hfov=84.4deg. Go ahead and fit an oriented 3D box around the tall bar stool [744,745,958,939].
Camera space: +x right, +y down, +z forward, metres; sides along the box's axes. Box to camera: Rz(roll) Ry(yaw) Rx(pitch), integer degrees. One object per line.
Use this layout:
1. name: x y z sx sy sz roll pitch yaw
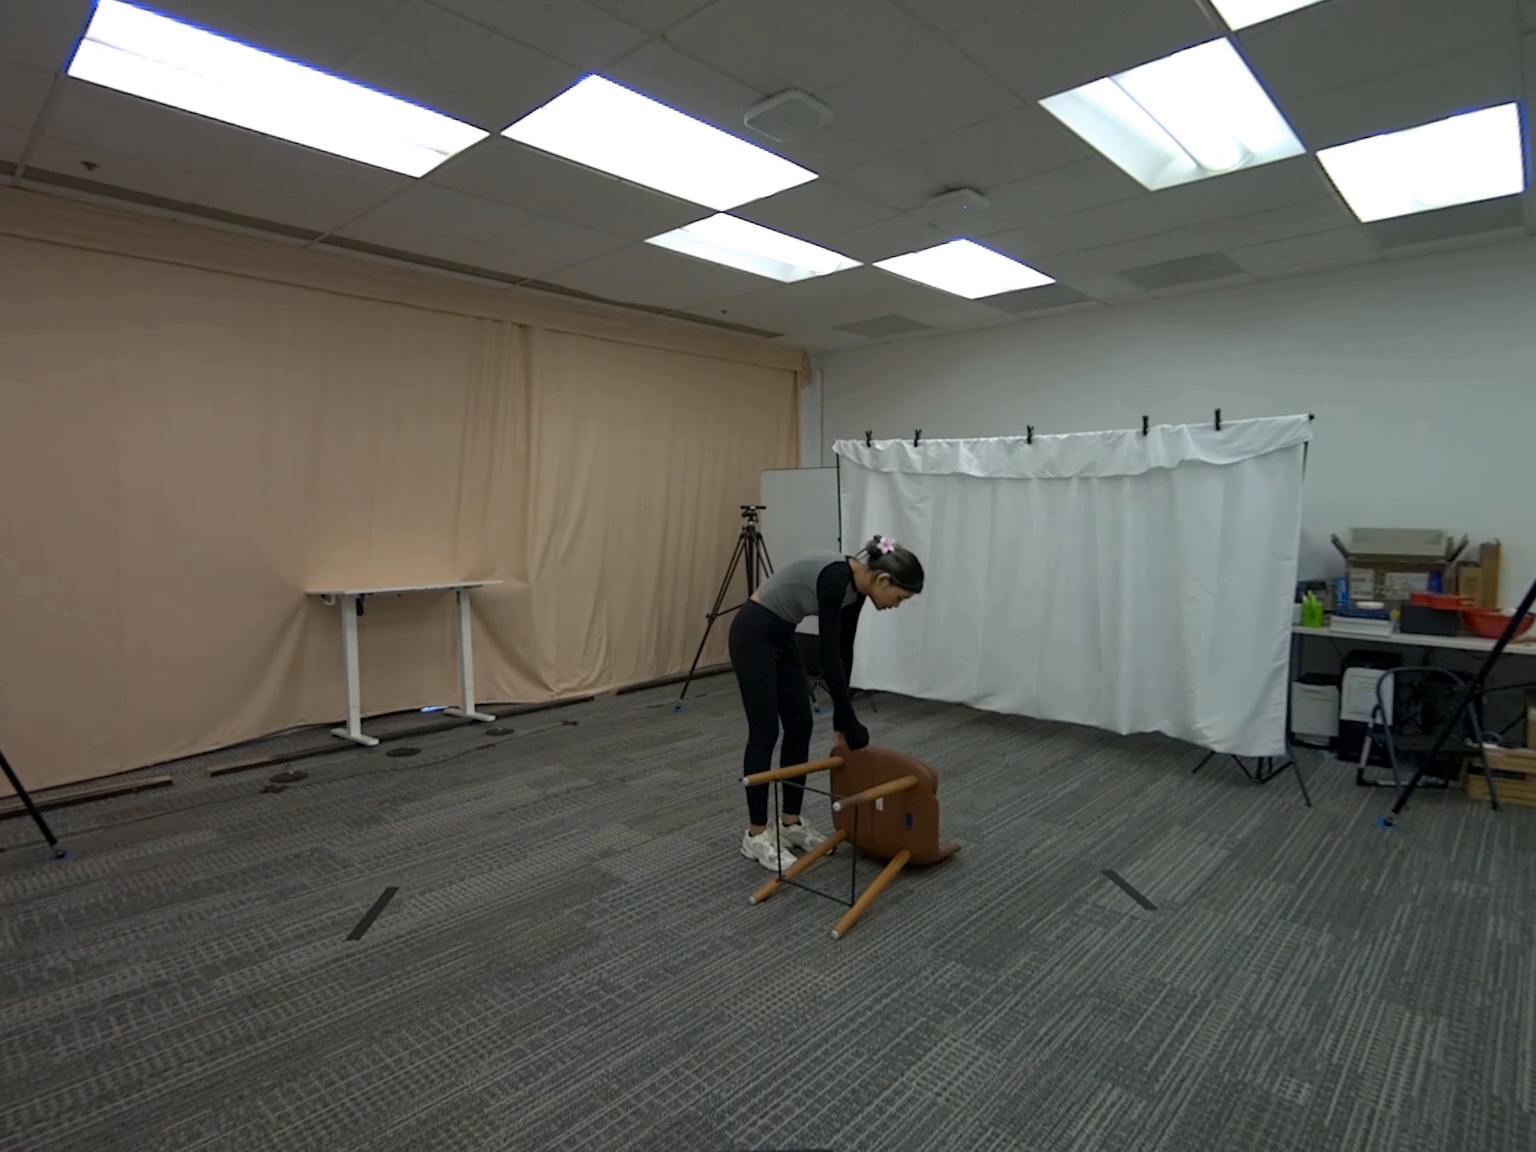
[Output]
1. tall bar stool: 0.354 0.902 3.123 0.471 0.467 0.863 2 5 40
